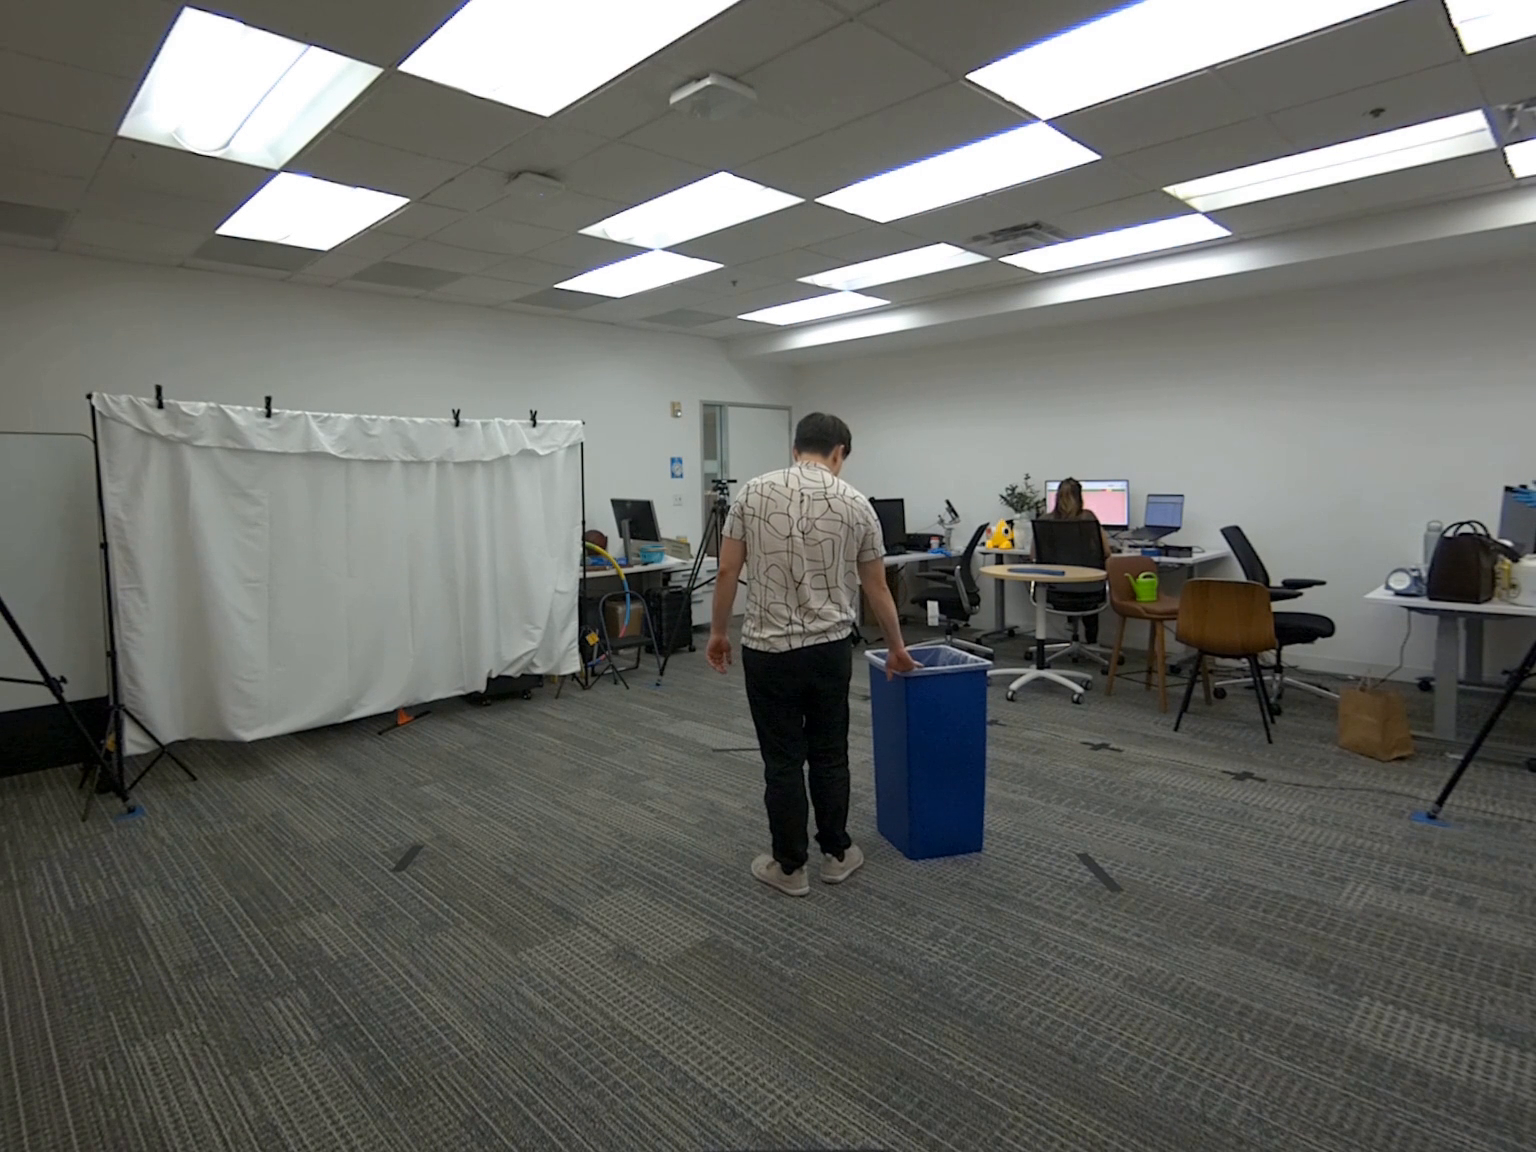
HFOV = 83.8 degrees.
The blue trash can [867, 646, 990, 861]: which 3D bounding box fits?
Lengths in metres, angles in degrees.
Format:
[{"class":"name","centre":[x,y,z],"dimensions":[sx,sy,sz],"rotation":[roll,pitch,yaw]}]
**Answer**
[{"class":"blue trash can","centre":[0.609,0.661,3.264],"dimensions":[0.368,0.711,0.385],"rotation":[-2,4,-17]}]
